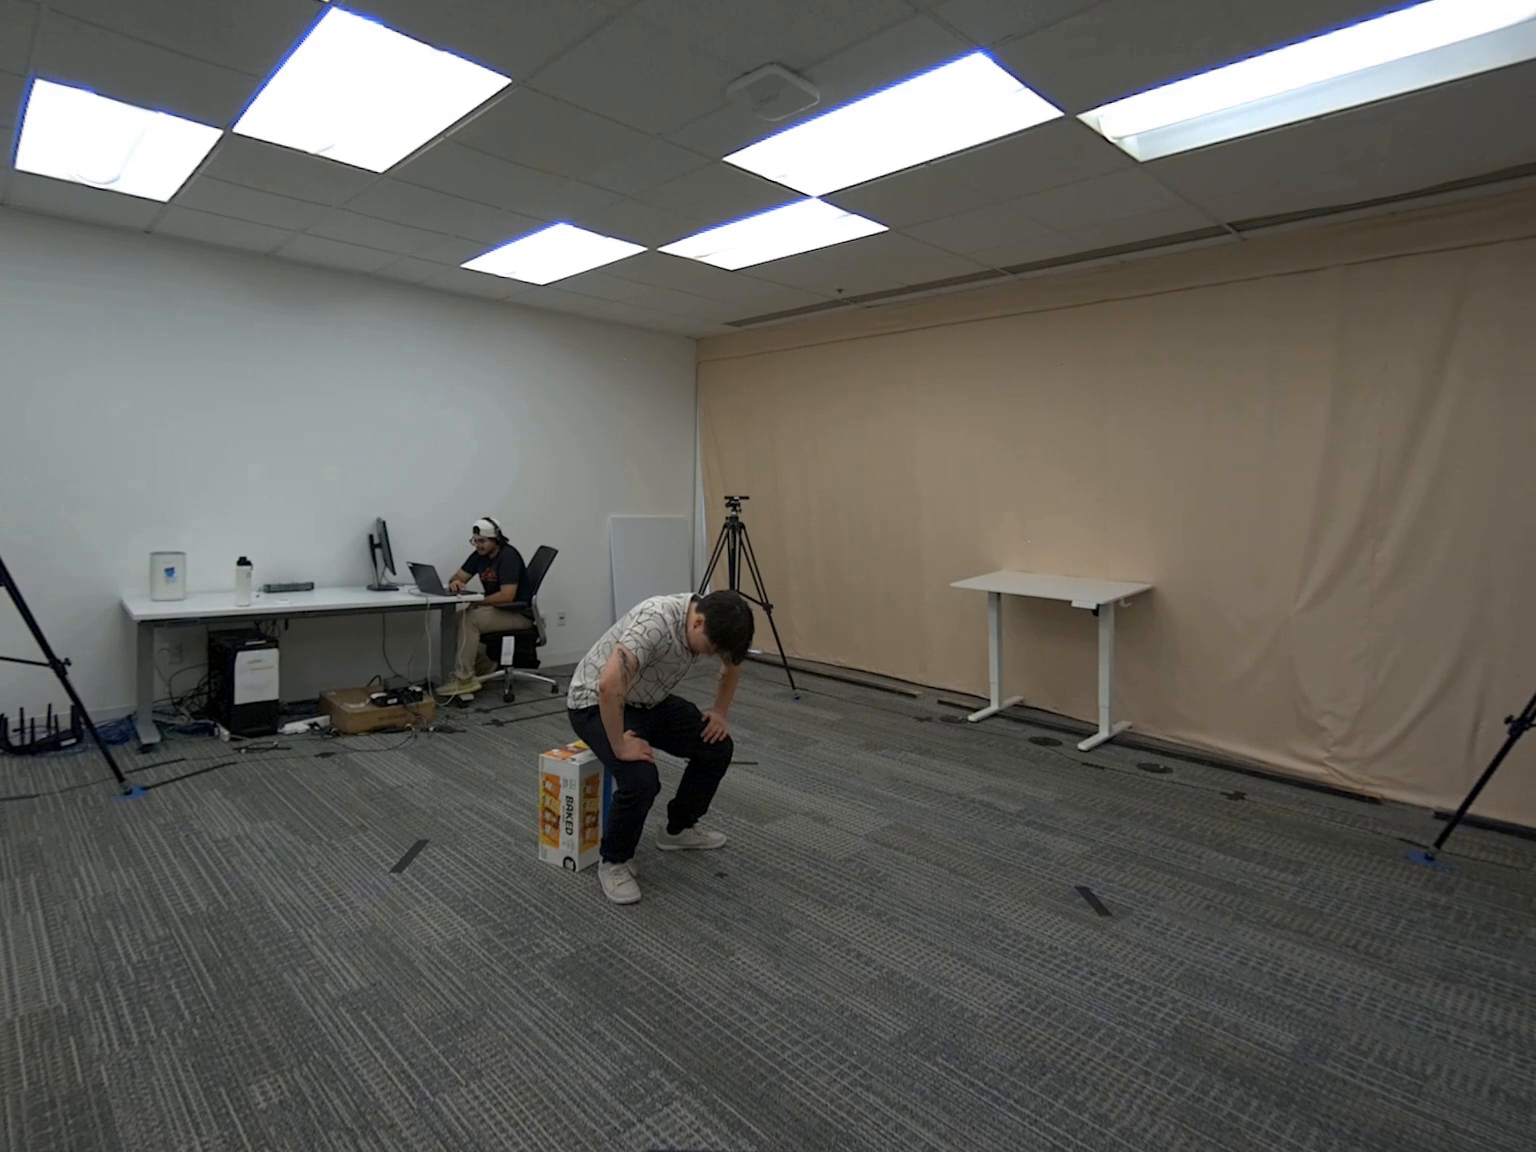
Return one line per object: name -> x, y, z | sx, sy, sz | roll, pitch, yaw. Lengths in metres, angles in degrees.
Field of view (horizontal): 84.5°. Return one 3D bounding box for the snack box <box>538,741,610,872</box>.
snack box -> -0.708, 0.873, 3.275 | 0.210, 0.404, 0.334 | 4, 5, 29
